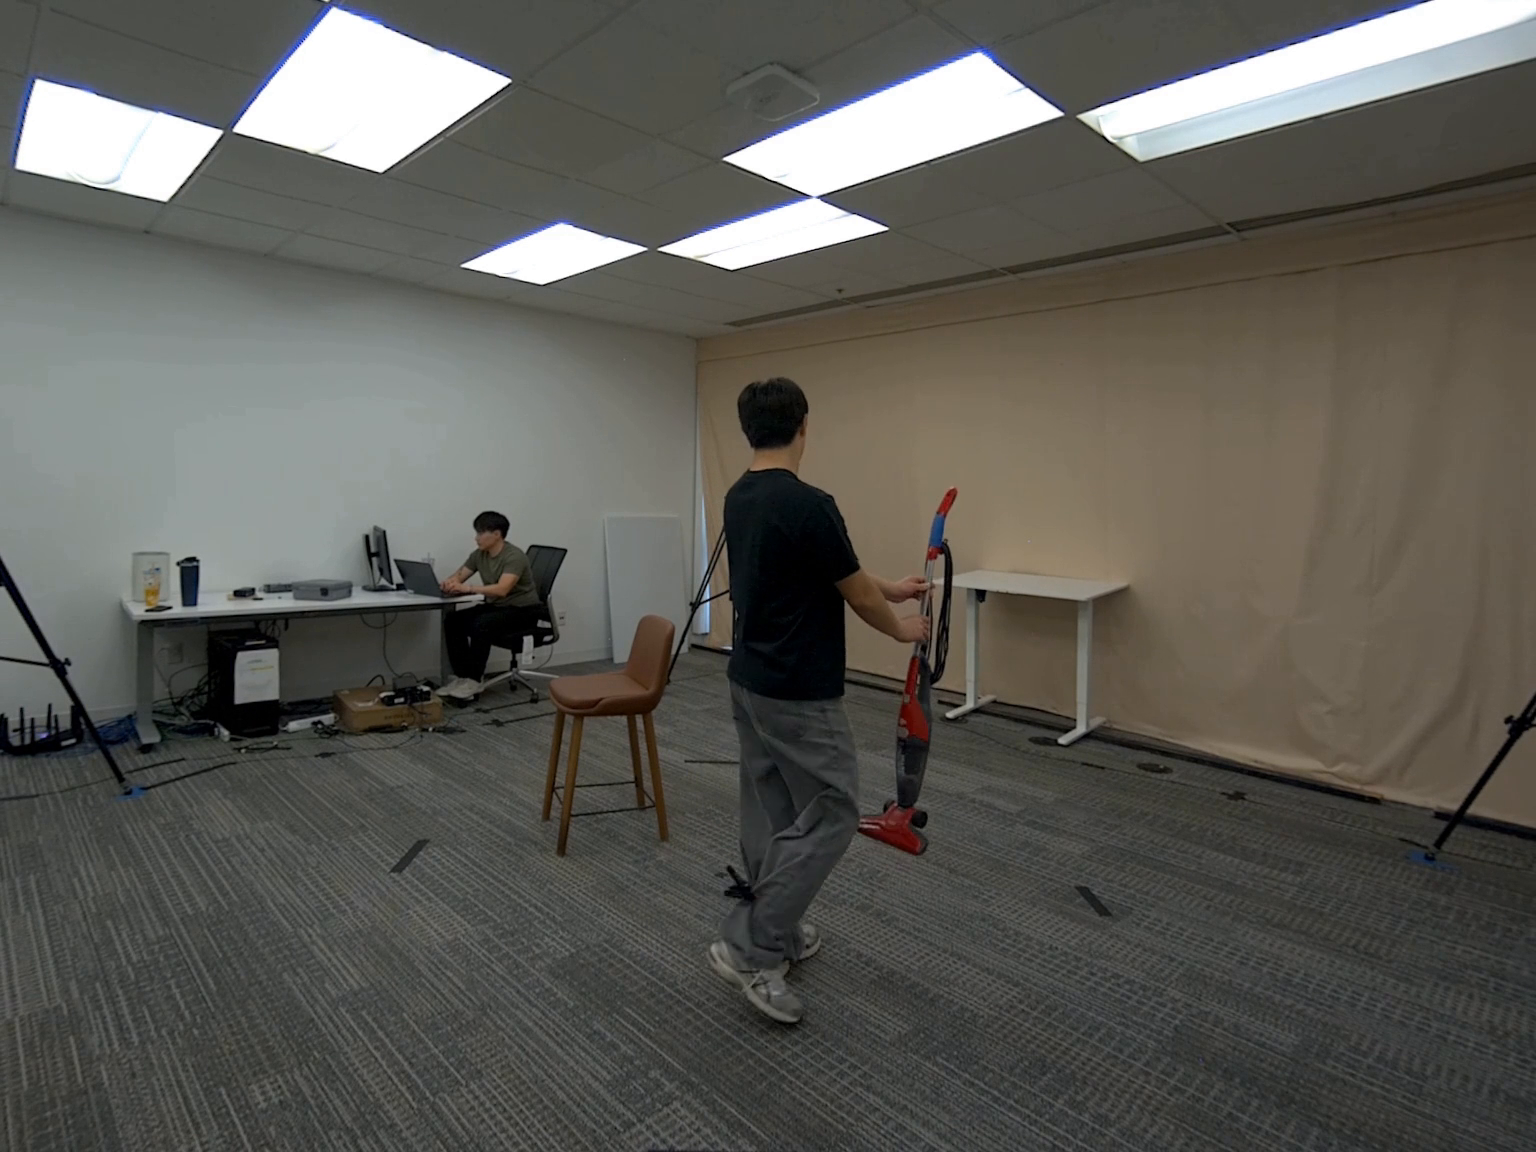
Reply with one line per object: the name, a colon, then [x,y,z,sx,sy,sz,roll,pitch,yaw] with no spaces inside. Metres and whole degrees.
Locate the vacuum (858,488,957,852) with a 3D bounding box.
vacuum: [0.489,0.249,2.601,0.141,1.052,0.258,15,-5,-28]
